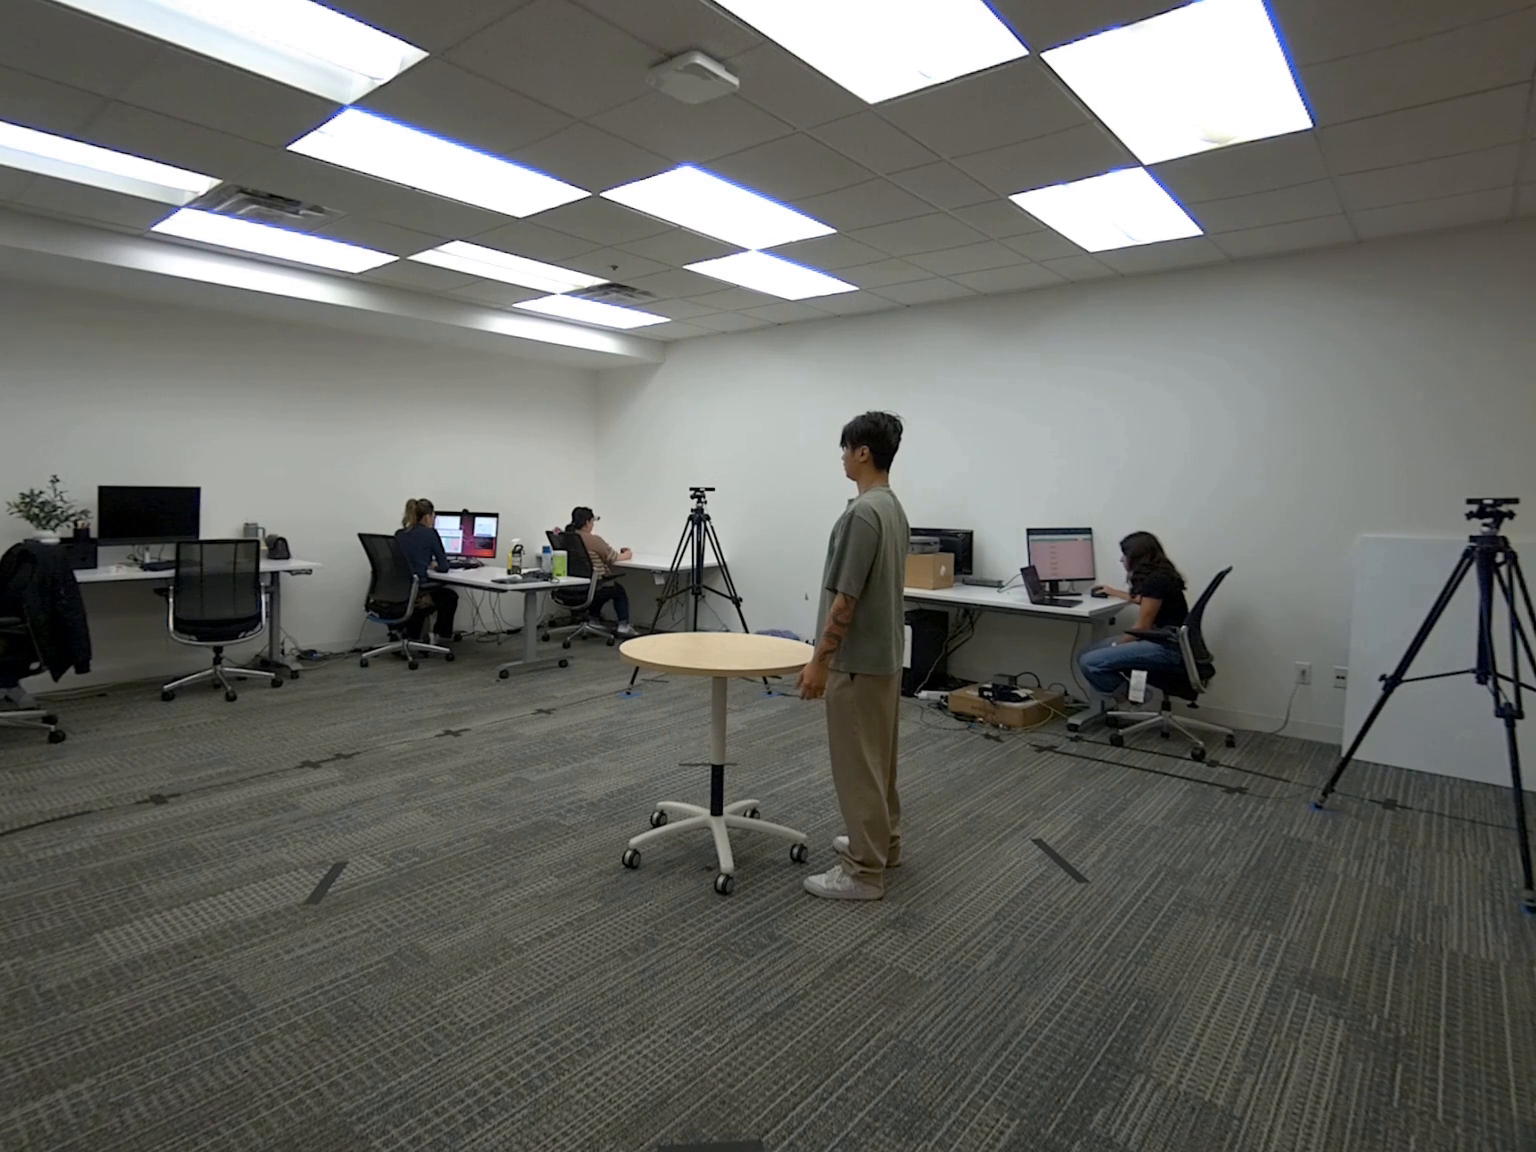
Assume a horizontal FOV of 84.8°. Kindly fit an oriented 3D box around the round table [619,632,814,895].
[{"bbox_3d":[-0.208,0.664,3.238,0.784,0.784,0.789,1,4,-2],"label":"round table"}]
